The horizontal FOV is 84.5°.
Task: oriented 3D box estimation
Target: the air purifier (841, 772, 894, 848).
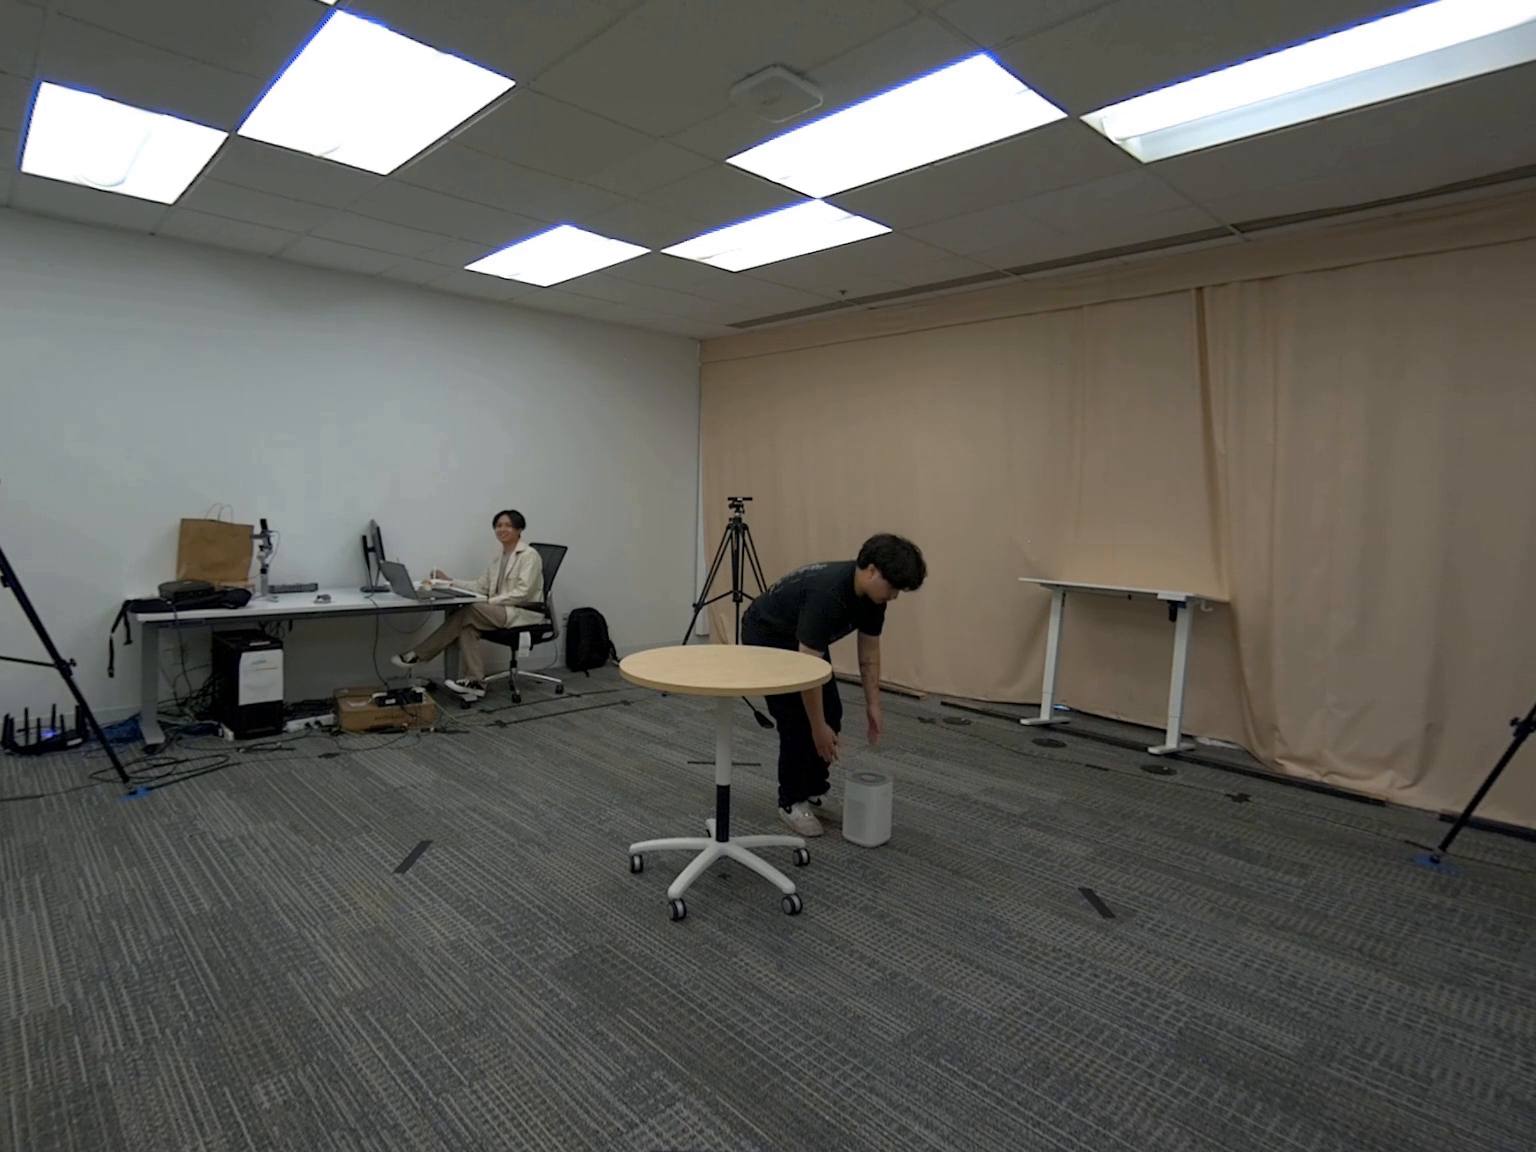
[{"bbox_3d":[0.401,0.945,3.481,0.176,0.265,0.167,3,3,43],"label":"air purifier"}]
